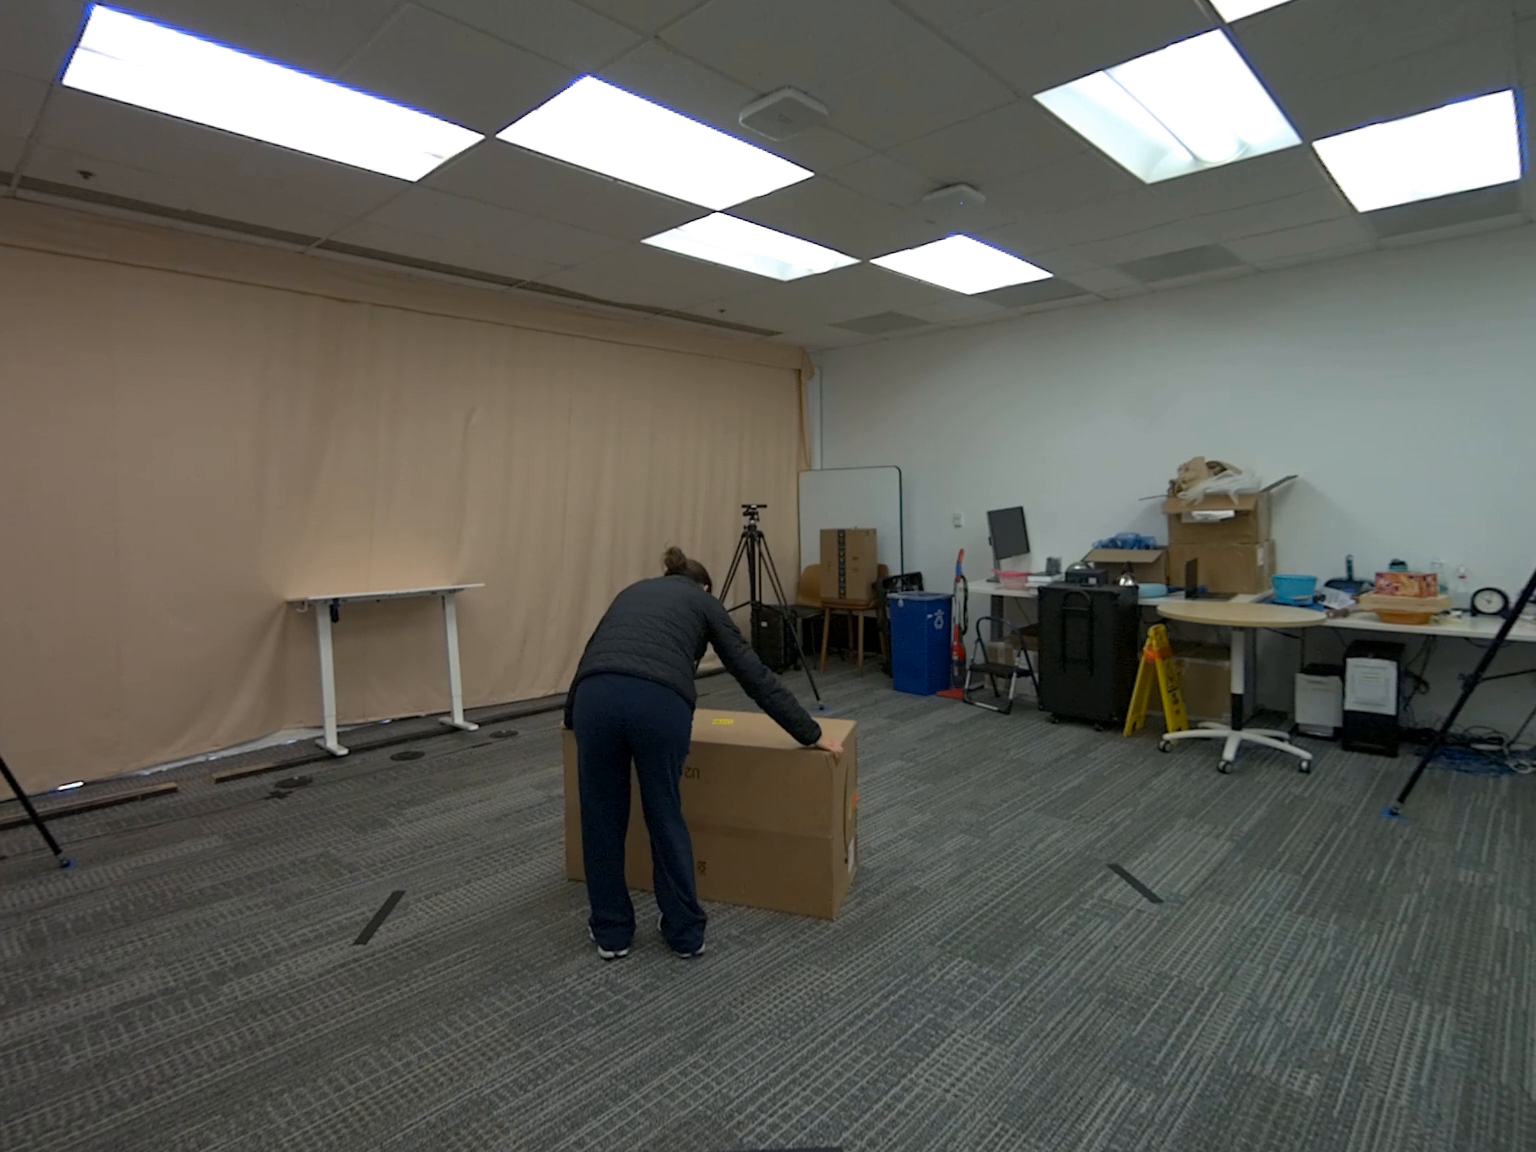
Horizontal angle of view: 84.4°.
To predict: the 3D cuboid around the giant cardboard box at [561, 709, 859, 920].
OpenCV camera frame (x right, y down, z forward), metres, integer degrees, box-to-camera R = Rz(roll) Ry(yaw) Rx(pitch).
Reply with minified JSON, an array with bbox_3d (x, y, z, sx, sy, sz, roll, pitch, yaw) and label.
[{"bbox_3d":[-0.193,0.840,3.164,1.048,0.583,0.439,1,4,19],"label":"giant cardboard box"}]
